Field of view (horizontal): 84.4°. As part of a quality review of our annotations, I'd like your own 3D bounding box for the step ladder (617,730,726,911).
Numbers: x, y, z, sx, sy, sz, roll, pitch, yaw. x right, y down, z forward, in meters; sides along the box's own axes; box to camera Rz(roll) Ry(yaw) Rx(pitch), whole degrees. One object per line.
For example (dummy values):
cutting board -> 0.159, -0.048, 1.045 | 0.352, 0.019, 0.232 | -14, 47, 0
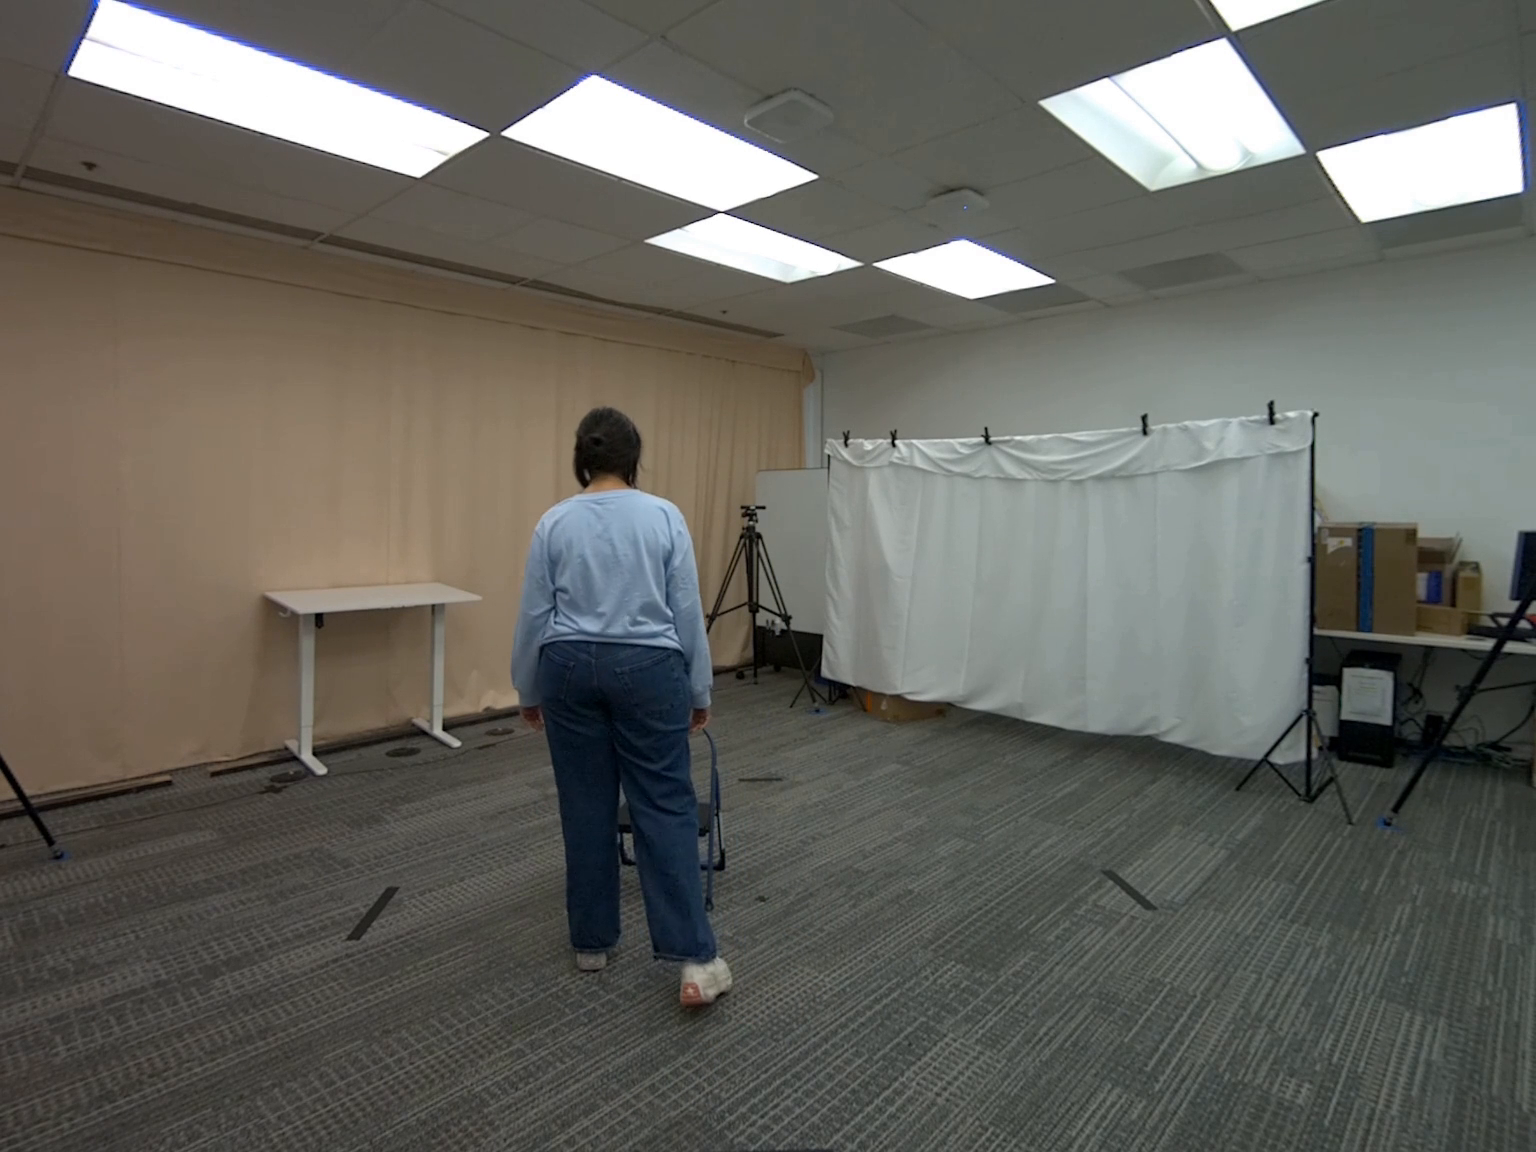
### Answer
step ladder -> -0.386, 0.837, 3.089 | 0.435, 0.604, 0.347 | 0, 4, 8
